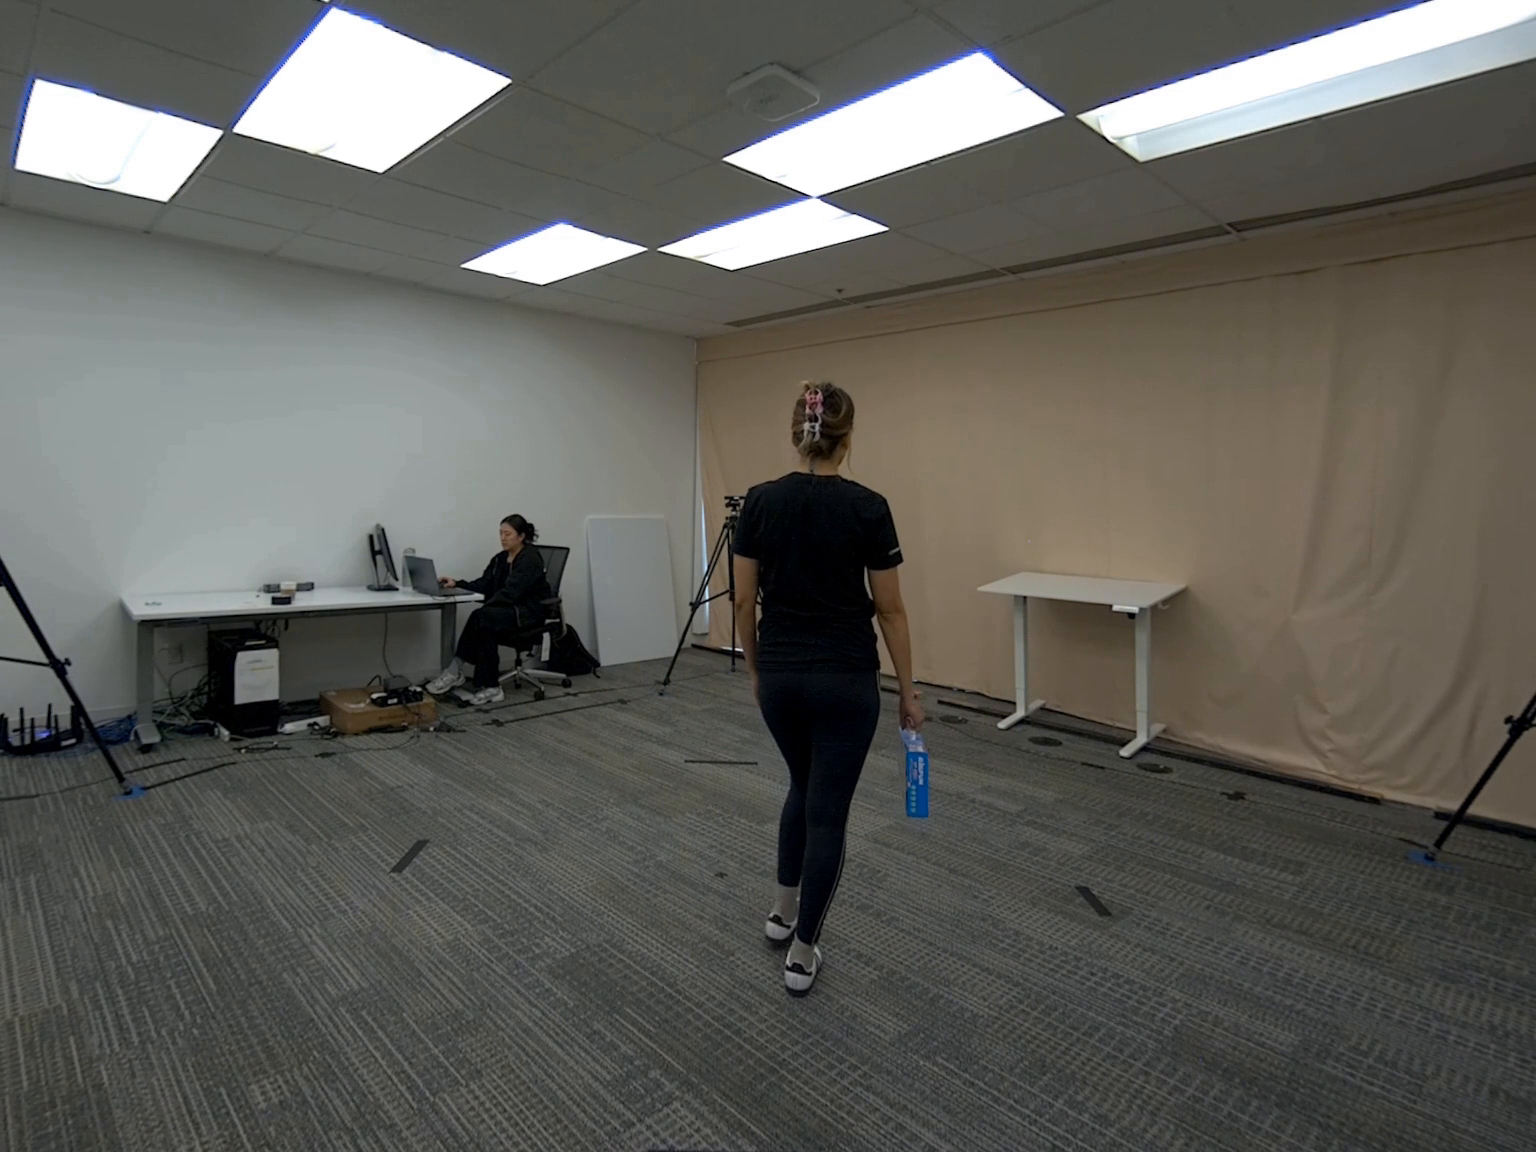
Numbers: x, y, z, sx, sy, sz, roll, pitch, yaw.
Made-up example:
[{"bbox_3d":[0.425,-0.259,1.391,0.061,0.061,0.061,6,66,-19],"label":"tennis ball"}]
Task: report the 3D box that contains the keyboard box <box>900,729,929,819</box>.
[{"bbox_3d":[0.409,0.559,2.450,0.059,0.176,0.434,1,-1,5],"label":"keyboard box"}]
